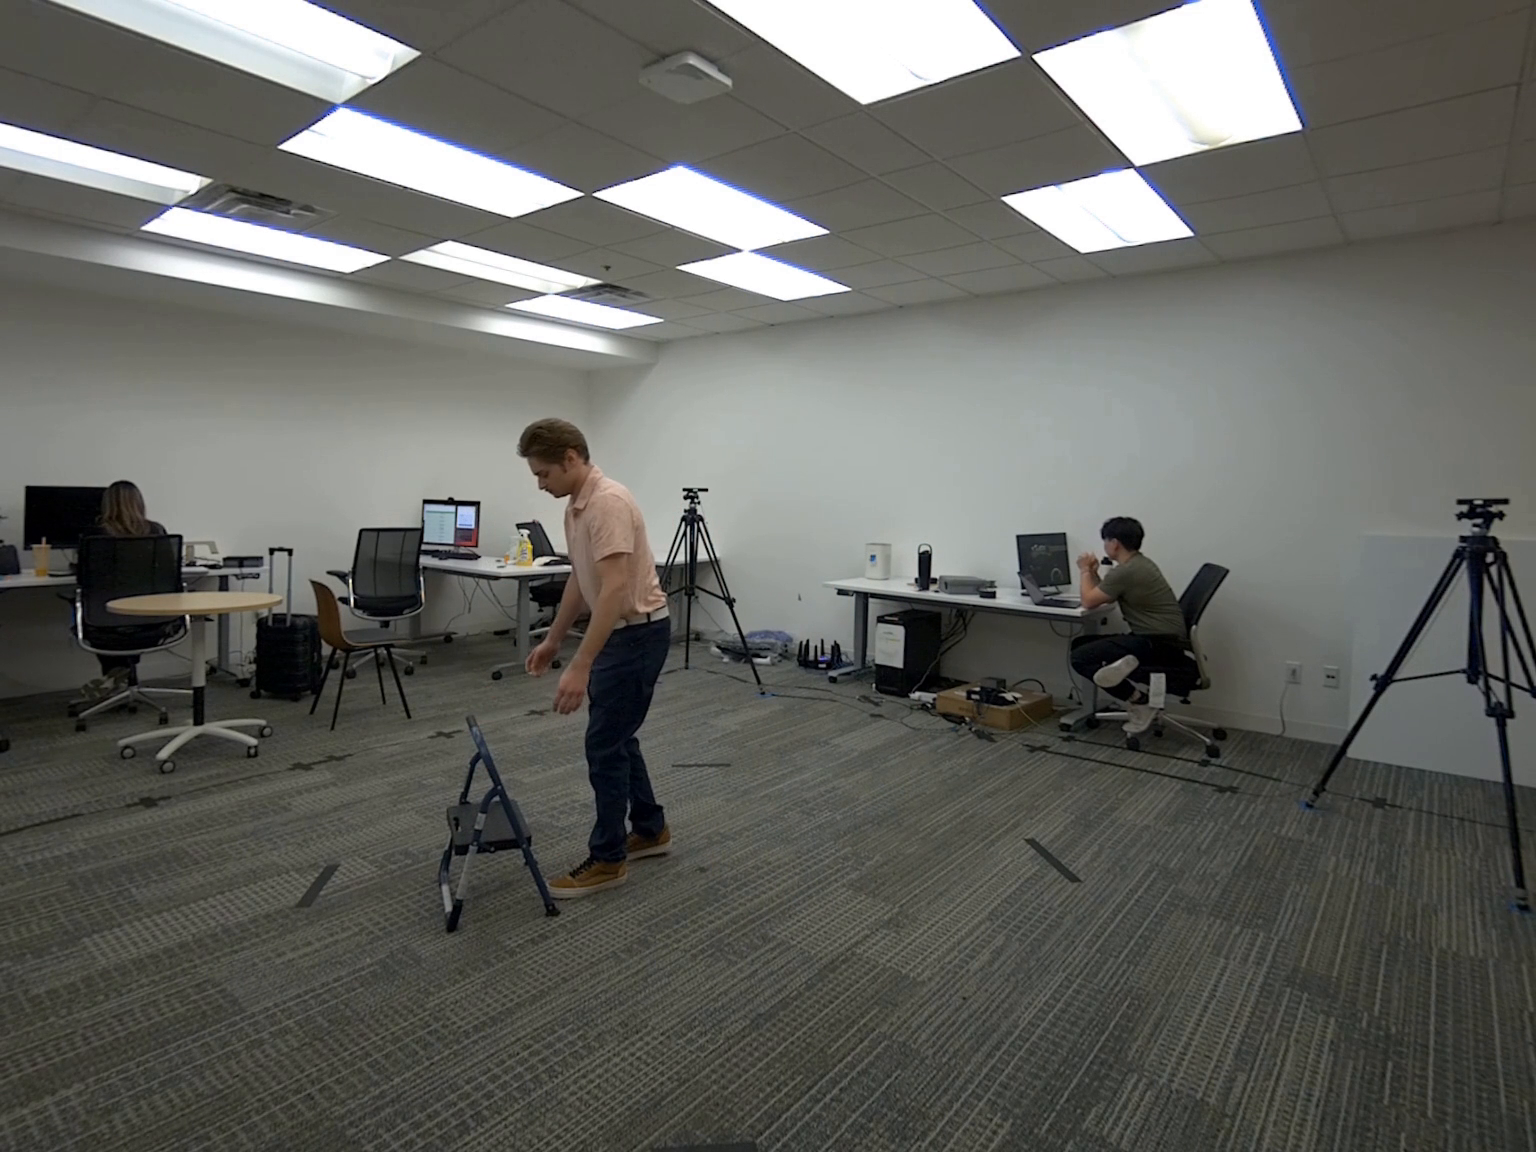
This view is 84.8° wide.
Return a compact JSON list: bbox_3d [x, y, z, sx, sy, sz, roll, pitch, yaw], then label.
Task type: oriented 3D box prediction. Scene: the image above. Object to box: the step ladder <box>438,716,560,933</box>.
[{"bbox_3d":[-0.932,0.778,2.872,0.341,0.604,0.442,0,5,-25],"label":"step ladder"}]
